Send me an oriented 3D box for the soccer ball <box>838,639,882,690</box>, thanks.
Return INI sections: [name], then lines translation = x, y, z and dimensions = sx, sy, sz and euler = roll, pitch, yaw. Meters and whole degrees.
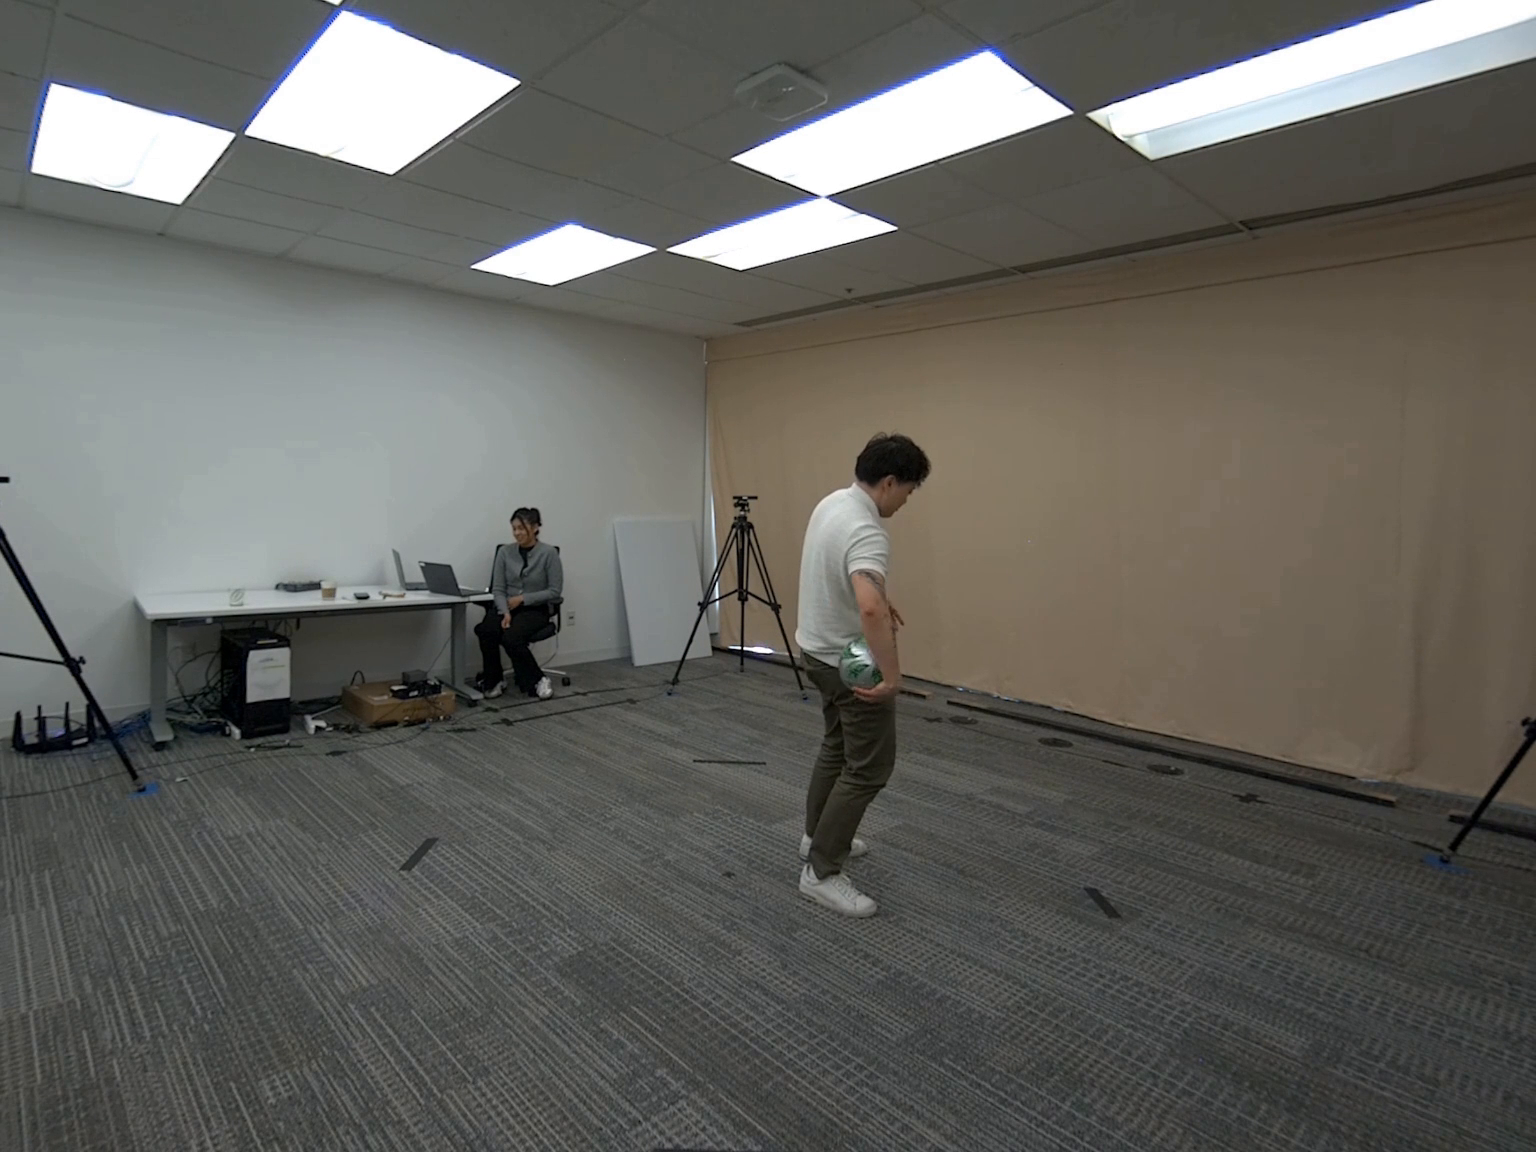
[soccer ball]
translation = 0.300, 0.282, 2.654
dimensions = 0.187, 0.187, 0.188
euler = 1, 4, -1
